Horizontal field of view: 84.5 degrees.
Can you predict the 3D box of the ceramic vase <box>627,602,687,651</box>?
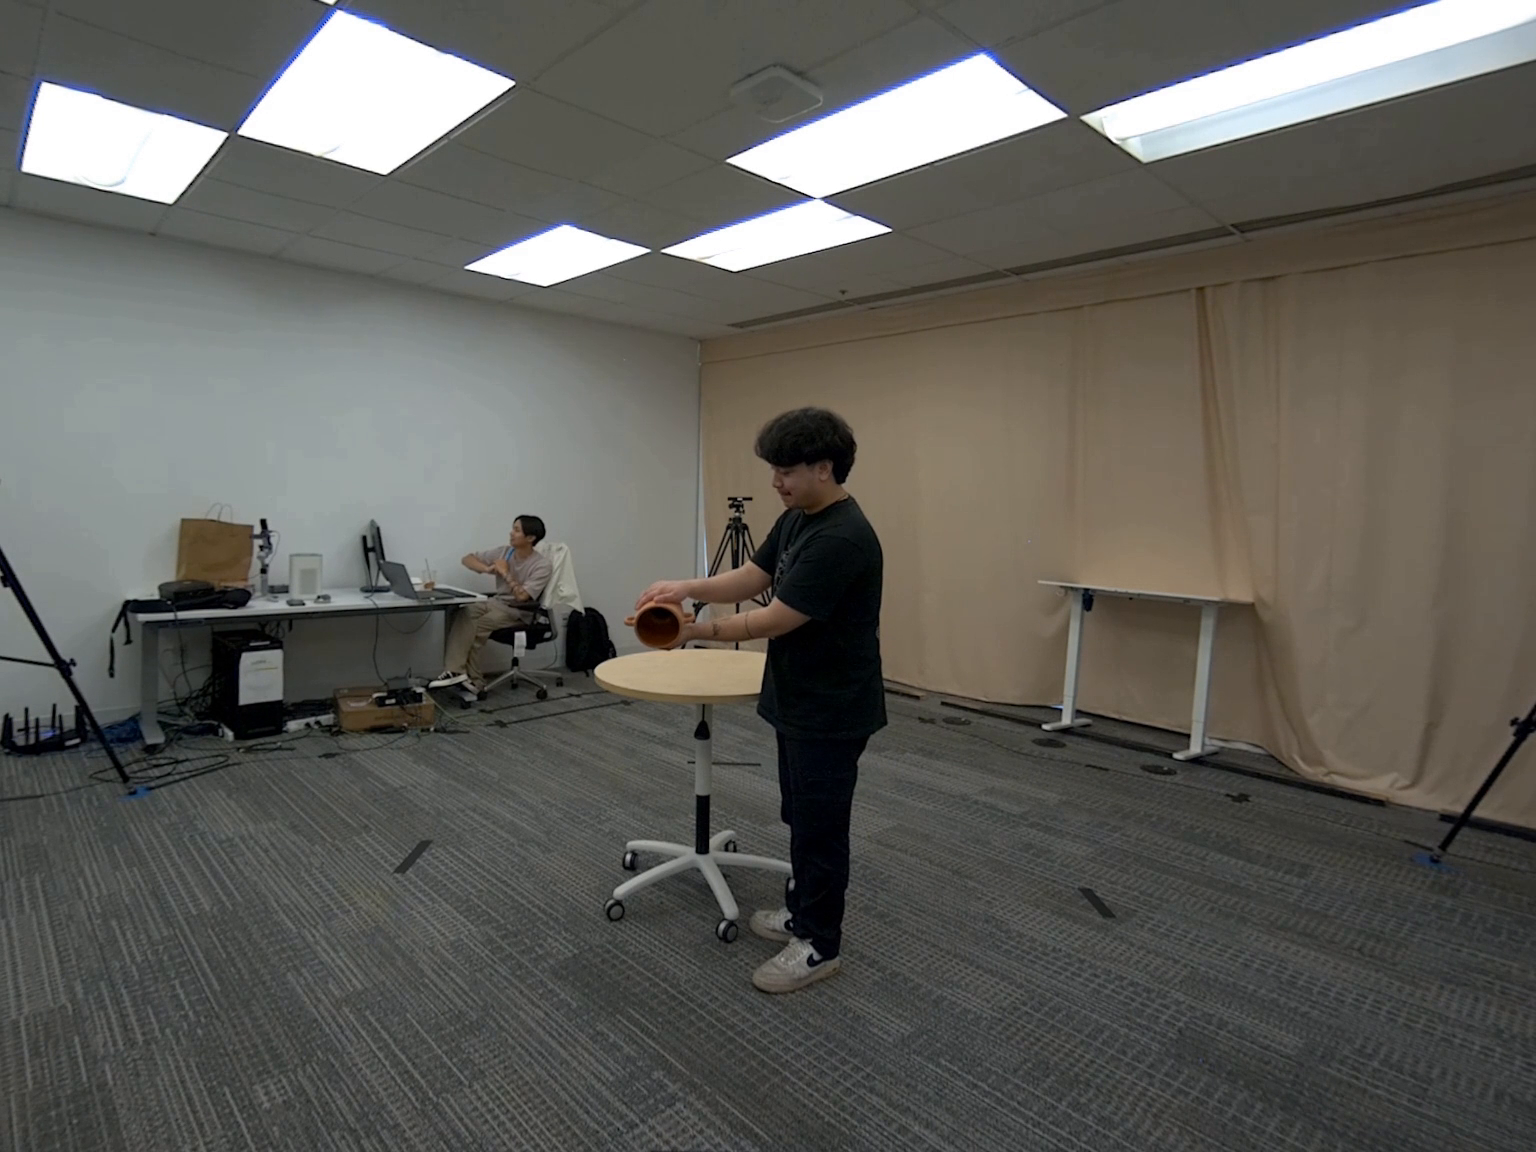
[{"bbox_3d":[-0.304,0.101,2.396,0.156,0.134,0.223,35,17,-14],"label":"ceramic vase"}]
